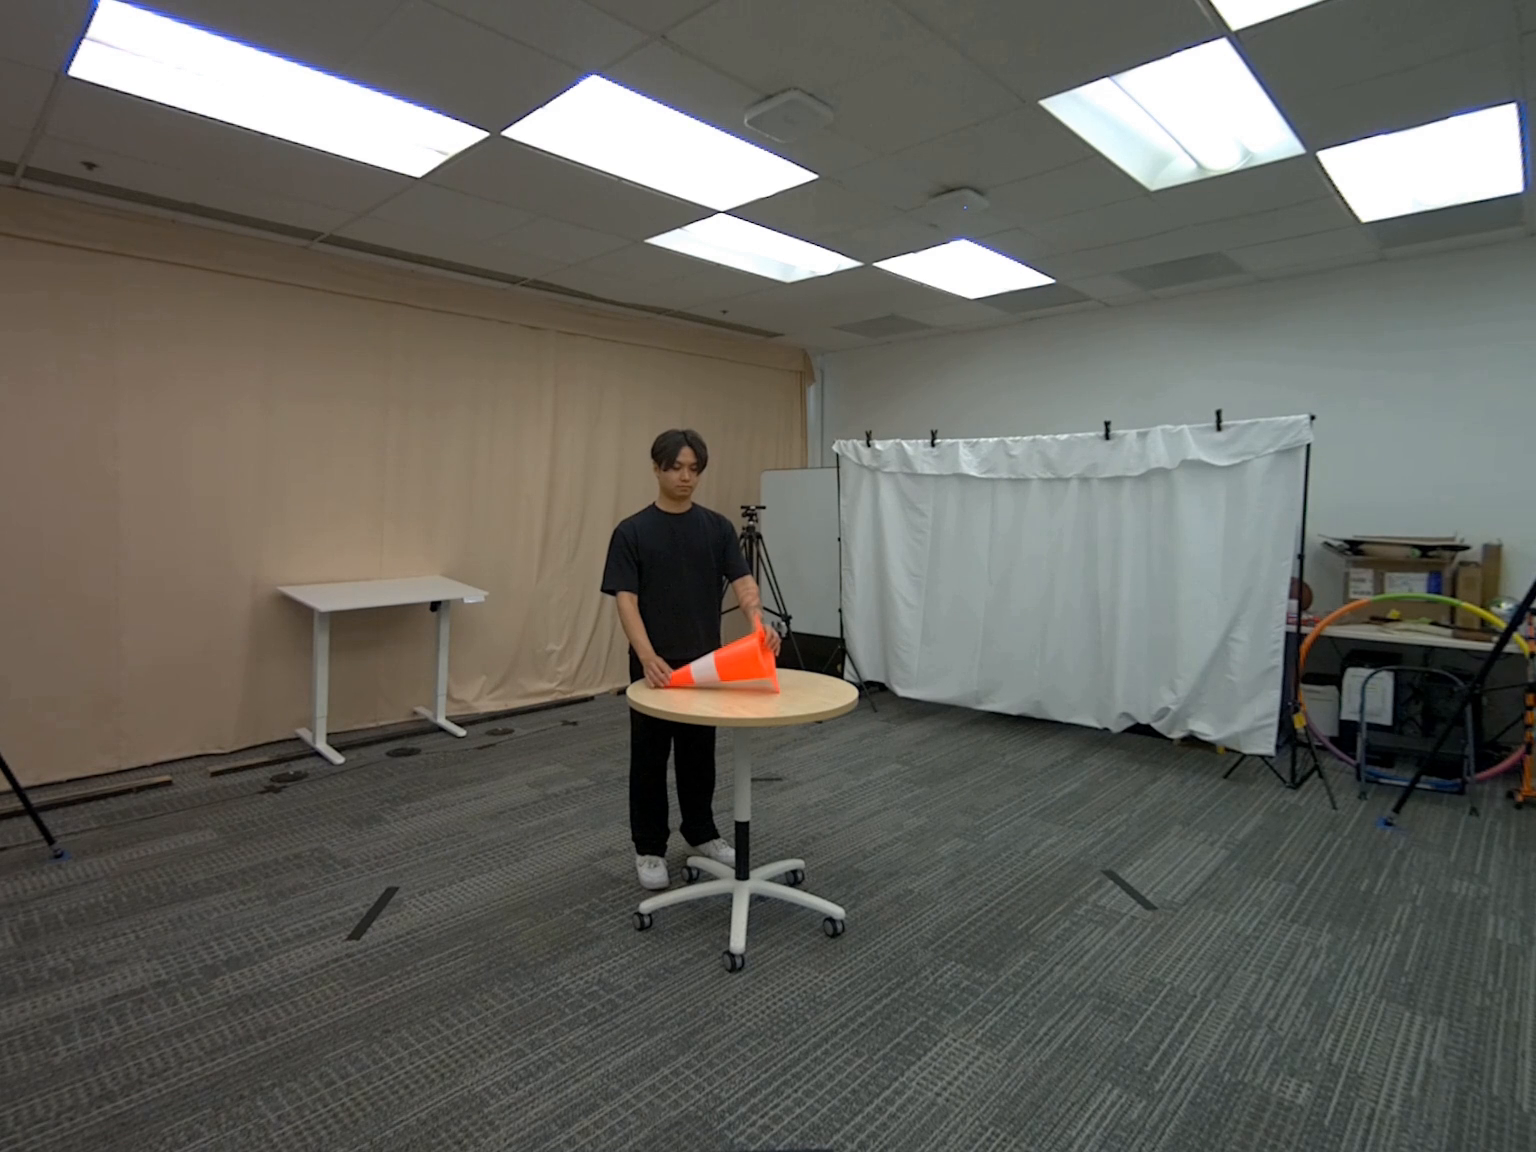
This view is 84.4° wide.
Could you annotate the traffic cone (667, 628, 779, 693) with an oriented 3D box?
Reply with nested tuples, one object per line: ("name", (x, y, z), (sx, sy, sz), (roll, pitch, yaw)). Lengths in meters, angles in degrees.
("traffic cone", (-0.185, 0.307, 2.773), (0.385, 0.199, 0.208), (-16, 39, 5))
